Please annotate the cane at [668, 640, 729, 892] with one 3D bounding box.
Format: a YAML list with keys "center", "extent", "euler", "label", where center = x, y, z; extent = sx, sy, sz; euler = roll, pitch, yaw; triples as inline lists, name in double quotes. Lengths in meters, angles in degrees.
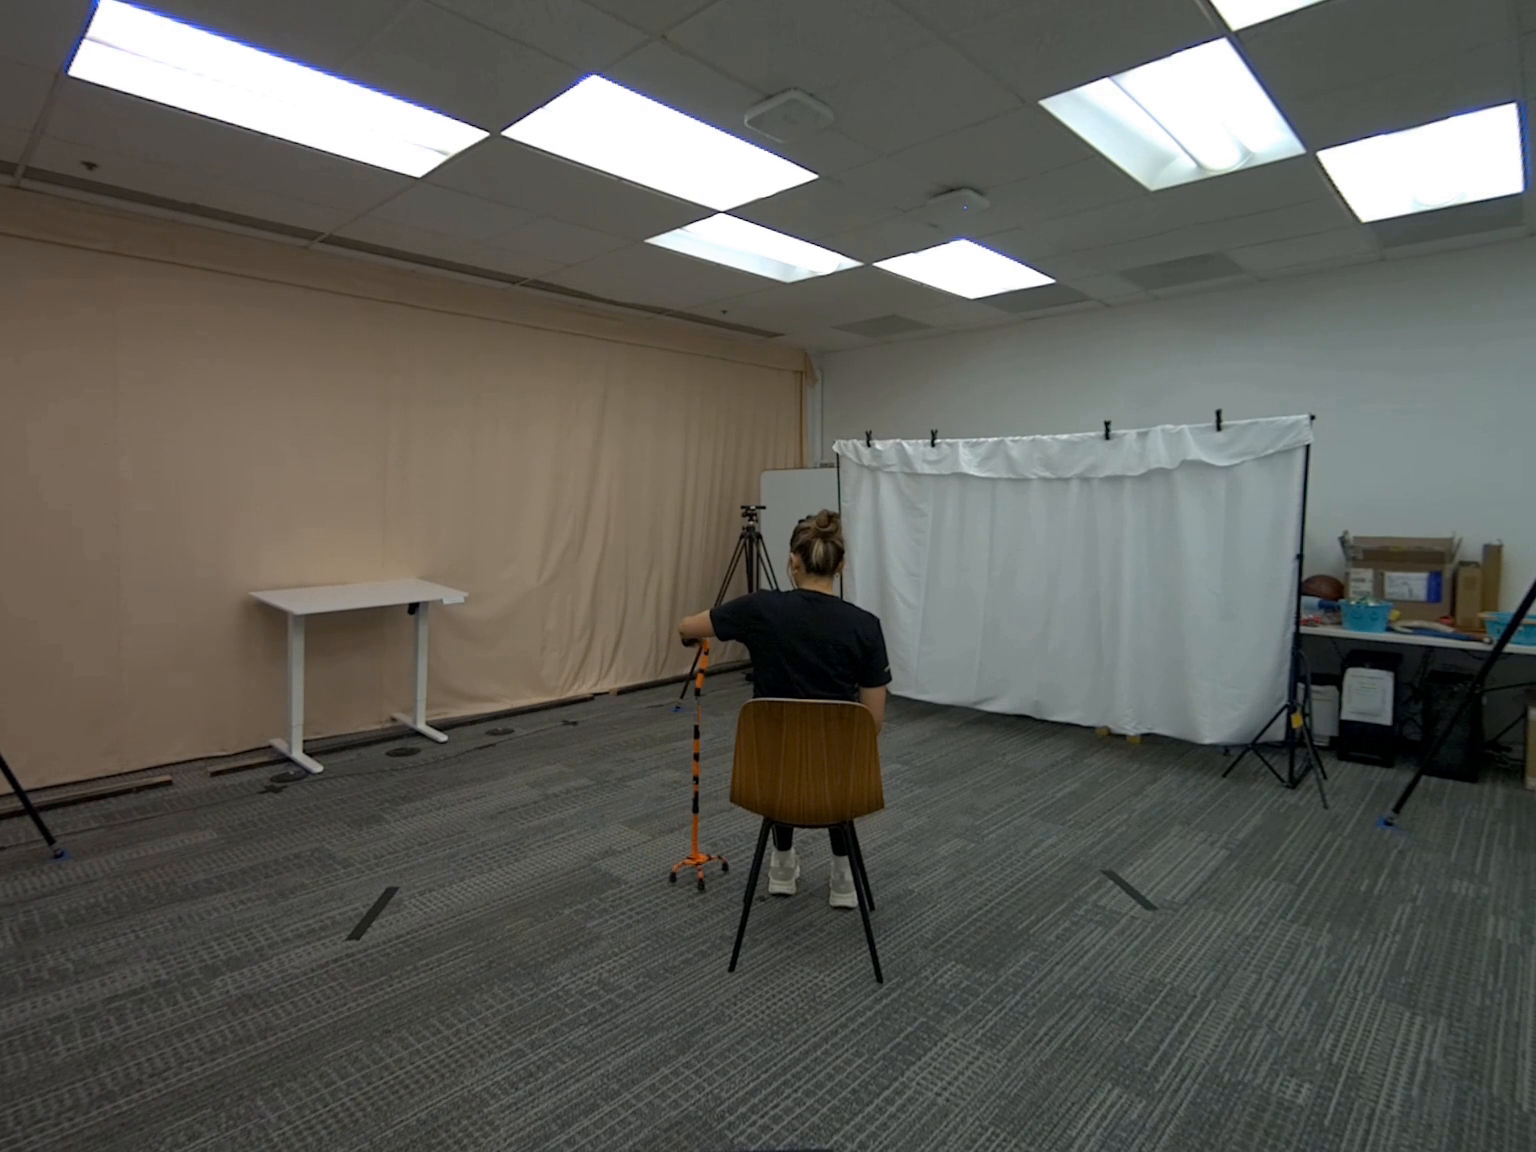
- center: [-0.250, 0.670, 3.099]
  extent: [0.156, 0.905, 0.201]
  euler: [3, 5, 26]
  label: "cane"
